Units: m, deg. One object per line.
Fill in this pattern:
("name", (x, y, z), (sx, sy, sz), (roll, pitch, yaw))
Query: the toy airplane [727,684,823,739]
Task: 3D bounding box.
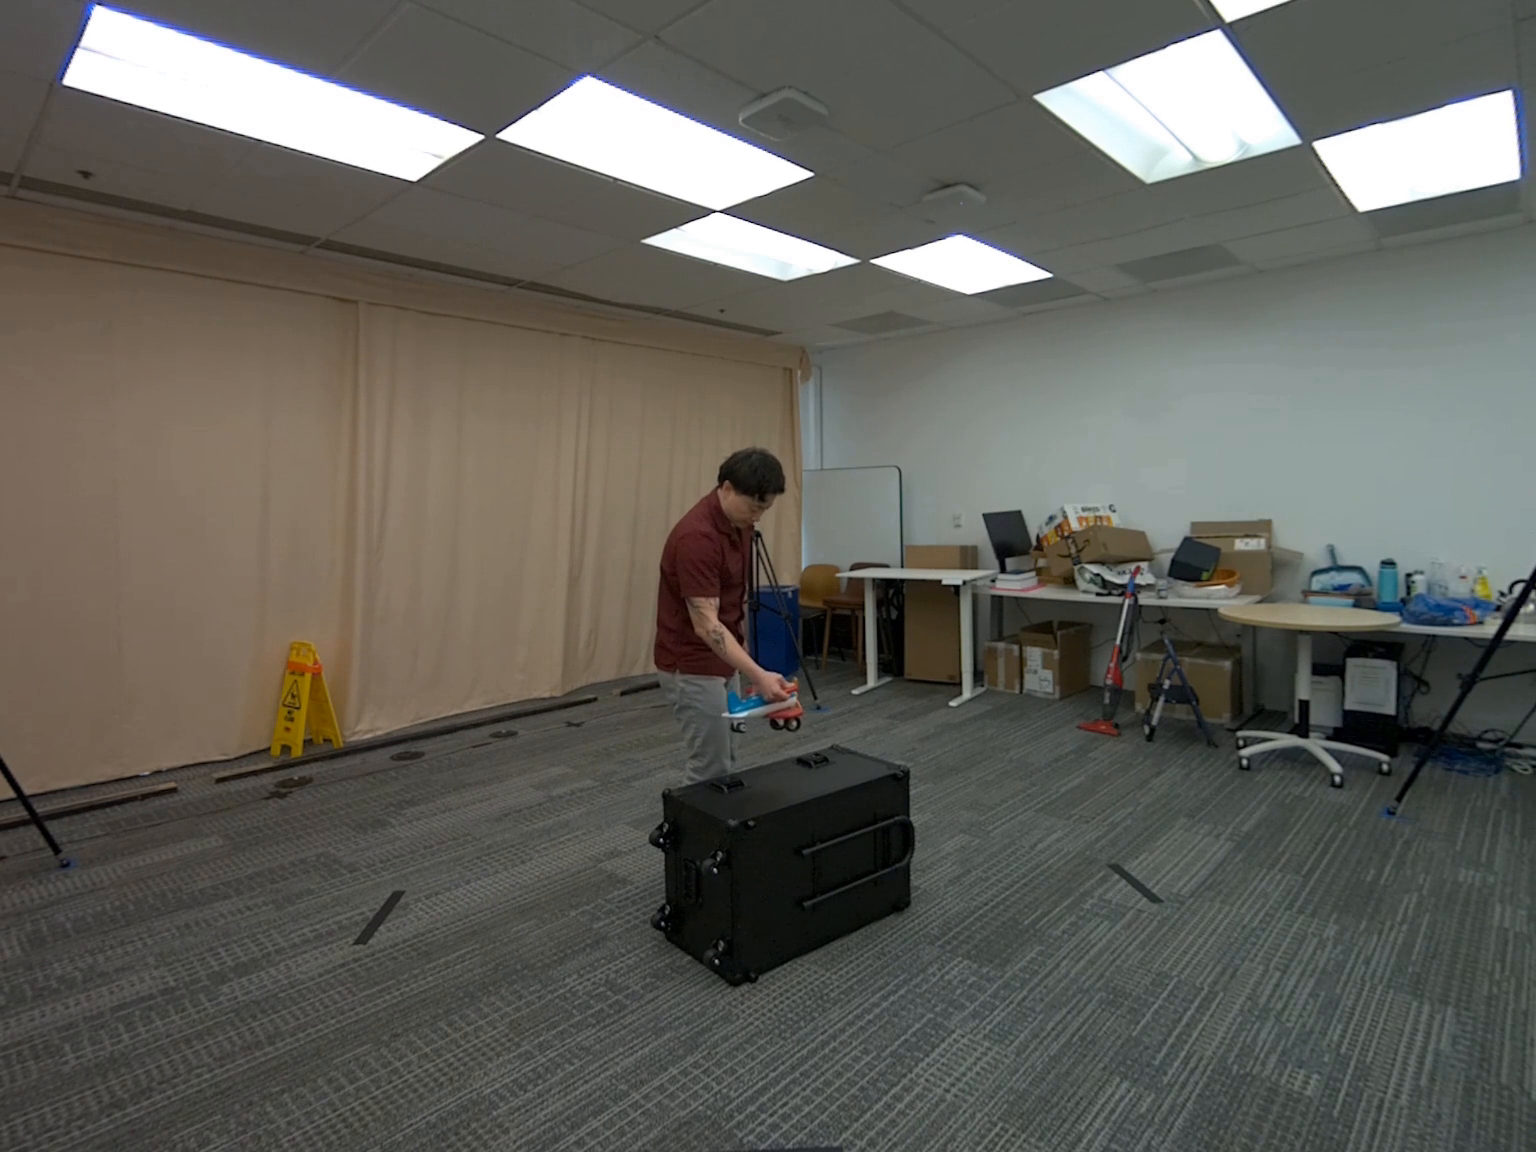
("toy airplane", (0.001, 0.426, 2.717), (0.258, 0.157, 0.251), (-4, -9, 32))
